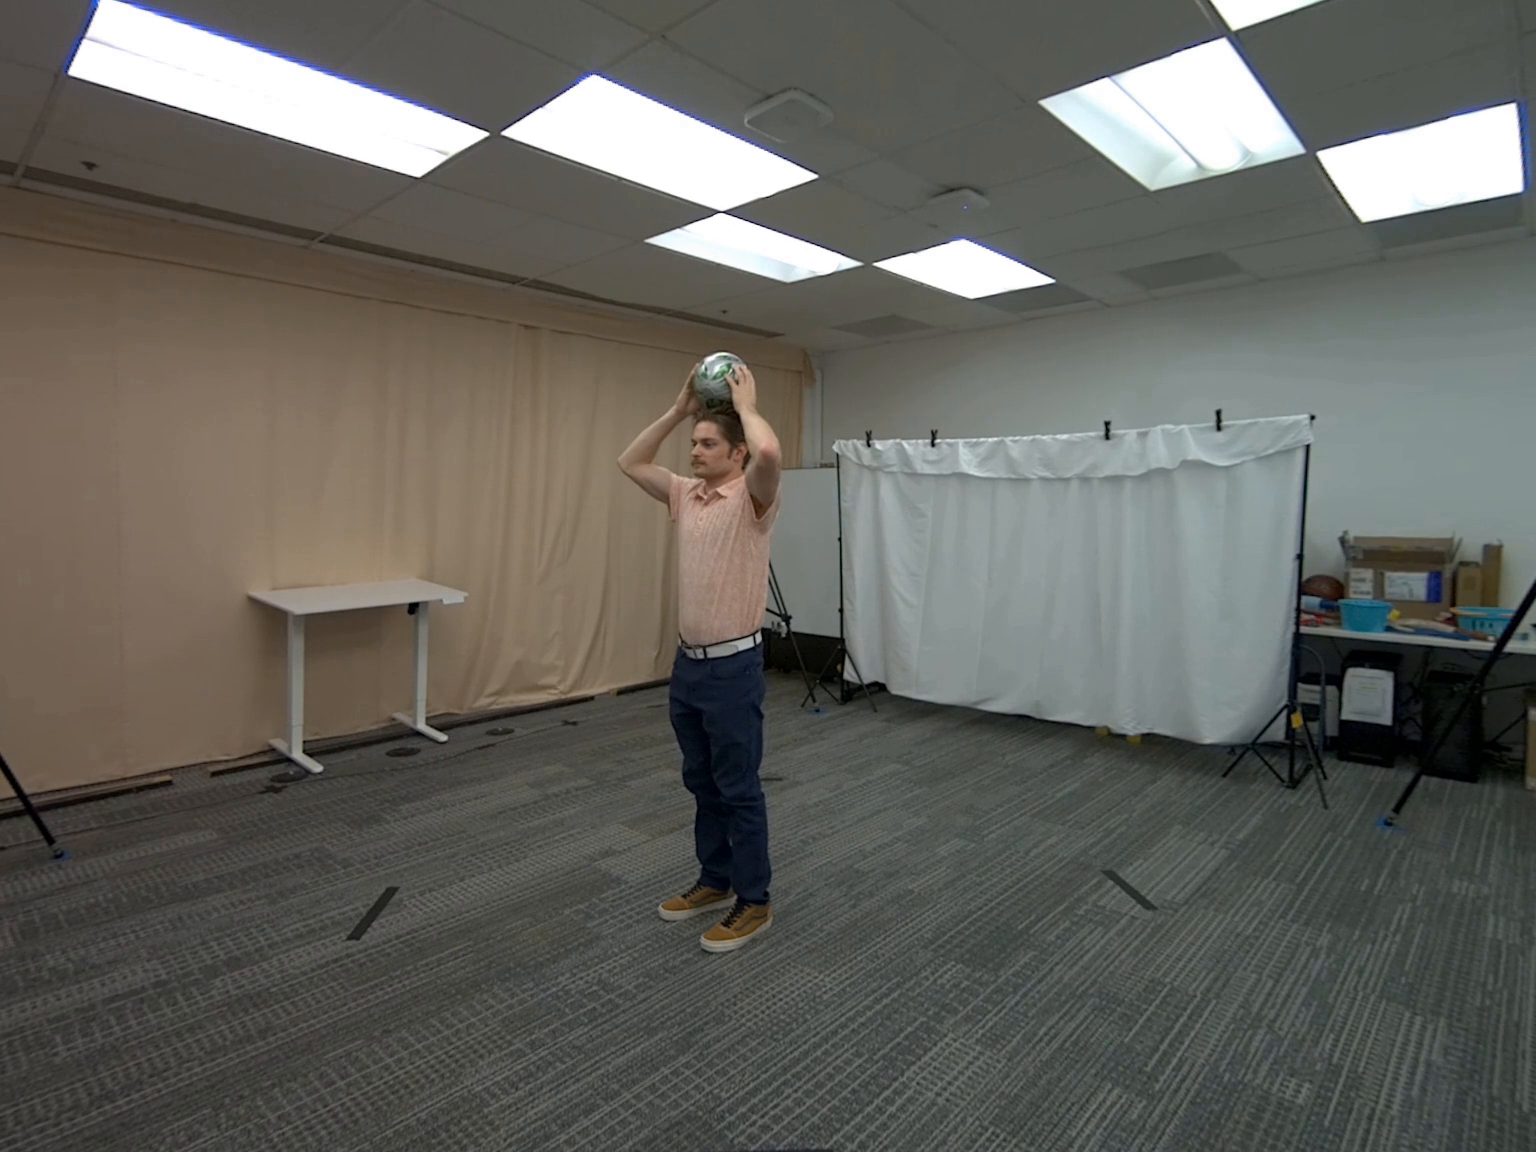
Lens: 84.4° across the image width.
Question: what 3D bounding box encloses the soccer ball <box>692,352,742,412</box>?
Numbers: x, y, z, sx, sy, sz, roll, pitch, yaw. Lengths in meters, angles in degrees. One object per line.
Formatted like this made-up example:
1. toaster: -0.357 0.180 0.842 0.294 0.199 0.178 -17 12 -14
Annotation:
1. soccer ball: -0.140 -0.626 2.745 0.187 0.187 0.188 0 4 -2
